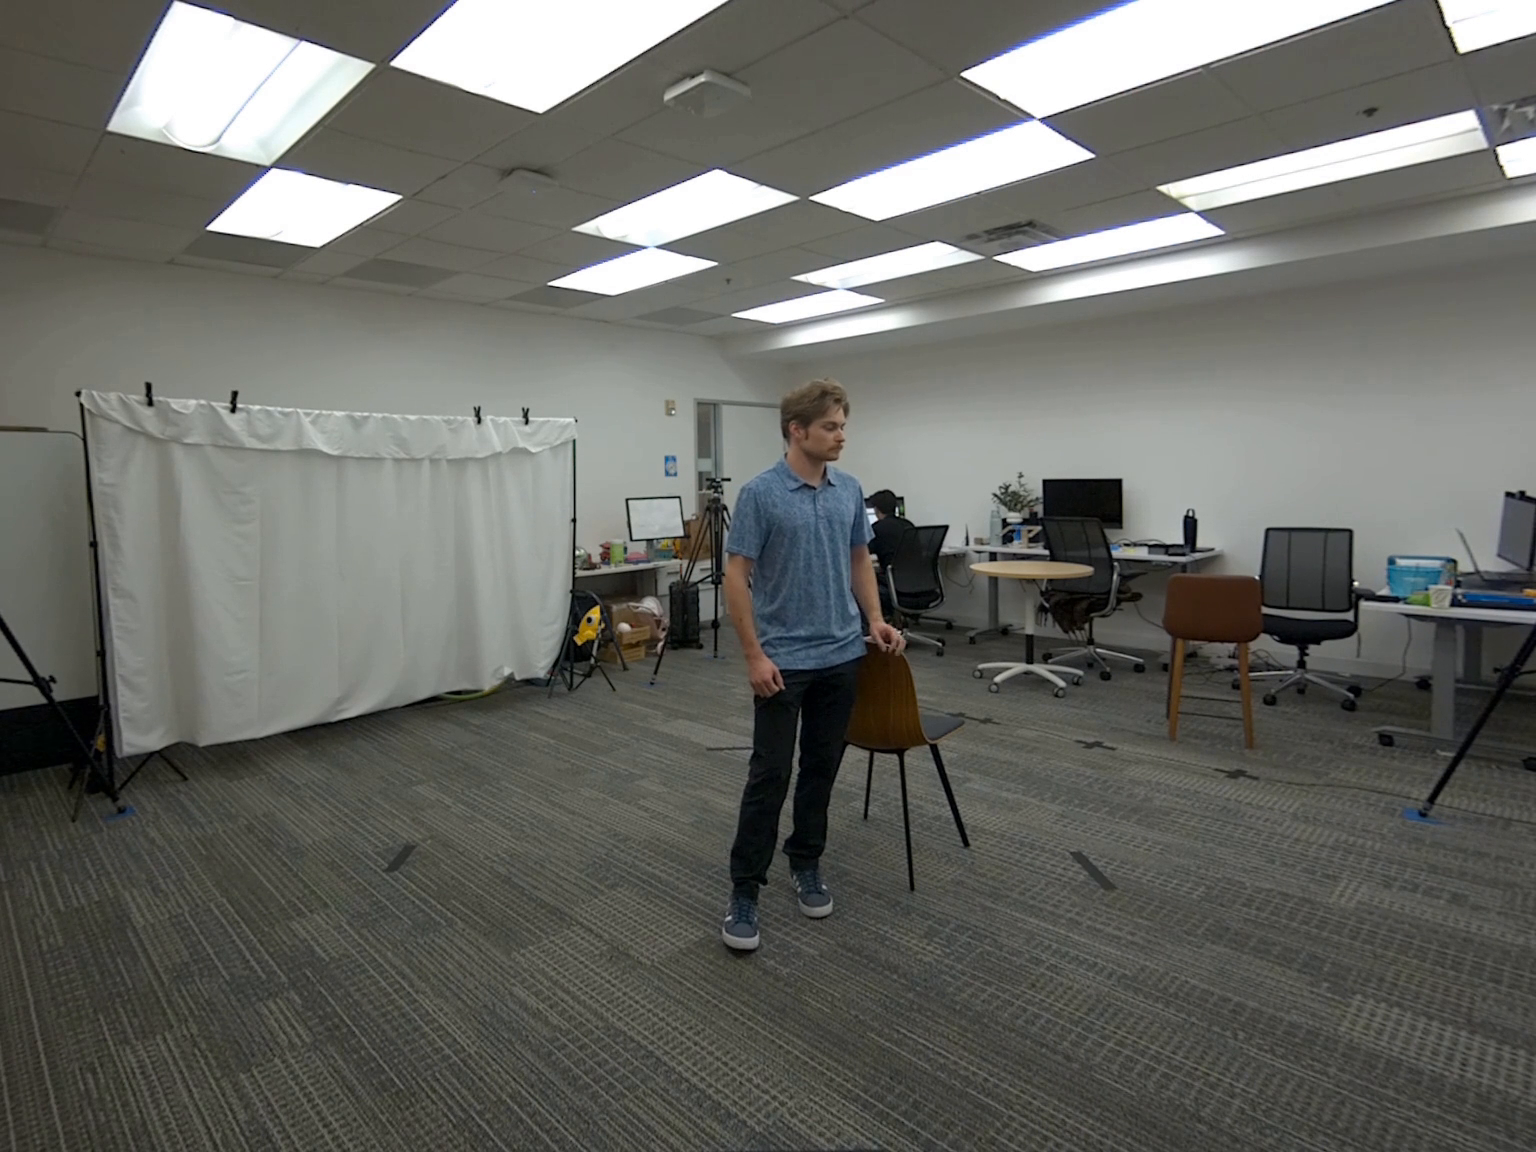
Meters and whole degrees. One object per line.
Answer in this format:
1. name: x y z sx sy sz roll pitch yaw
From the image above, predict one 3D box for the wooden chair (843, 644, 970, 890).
1. wooden chair: 0.441 0.600 3.162 0.492 0.871 0.512 2 10 38
